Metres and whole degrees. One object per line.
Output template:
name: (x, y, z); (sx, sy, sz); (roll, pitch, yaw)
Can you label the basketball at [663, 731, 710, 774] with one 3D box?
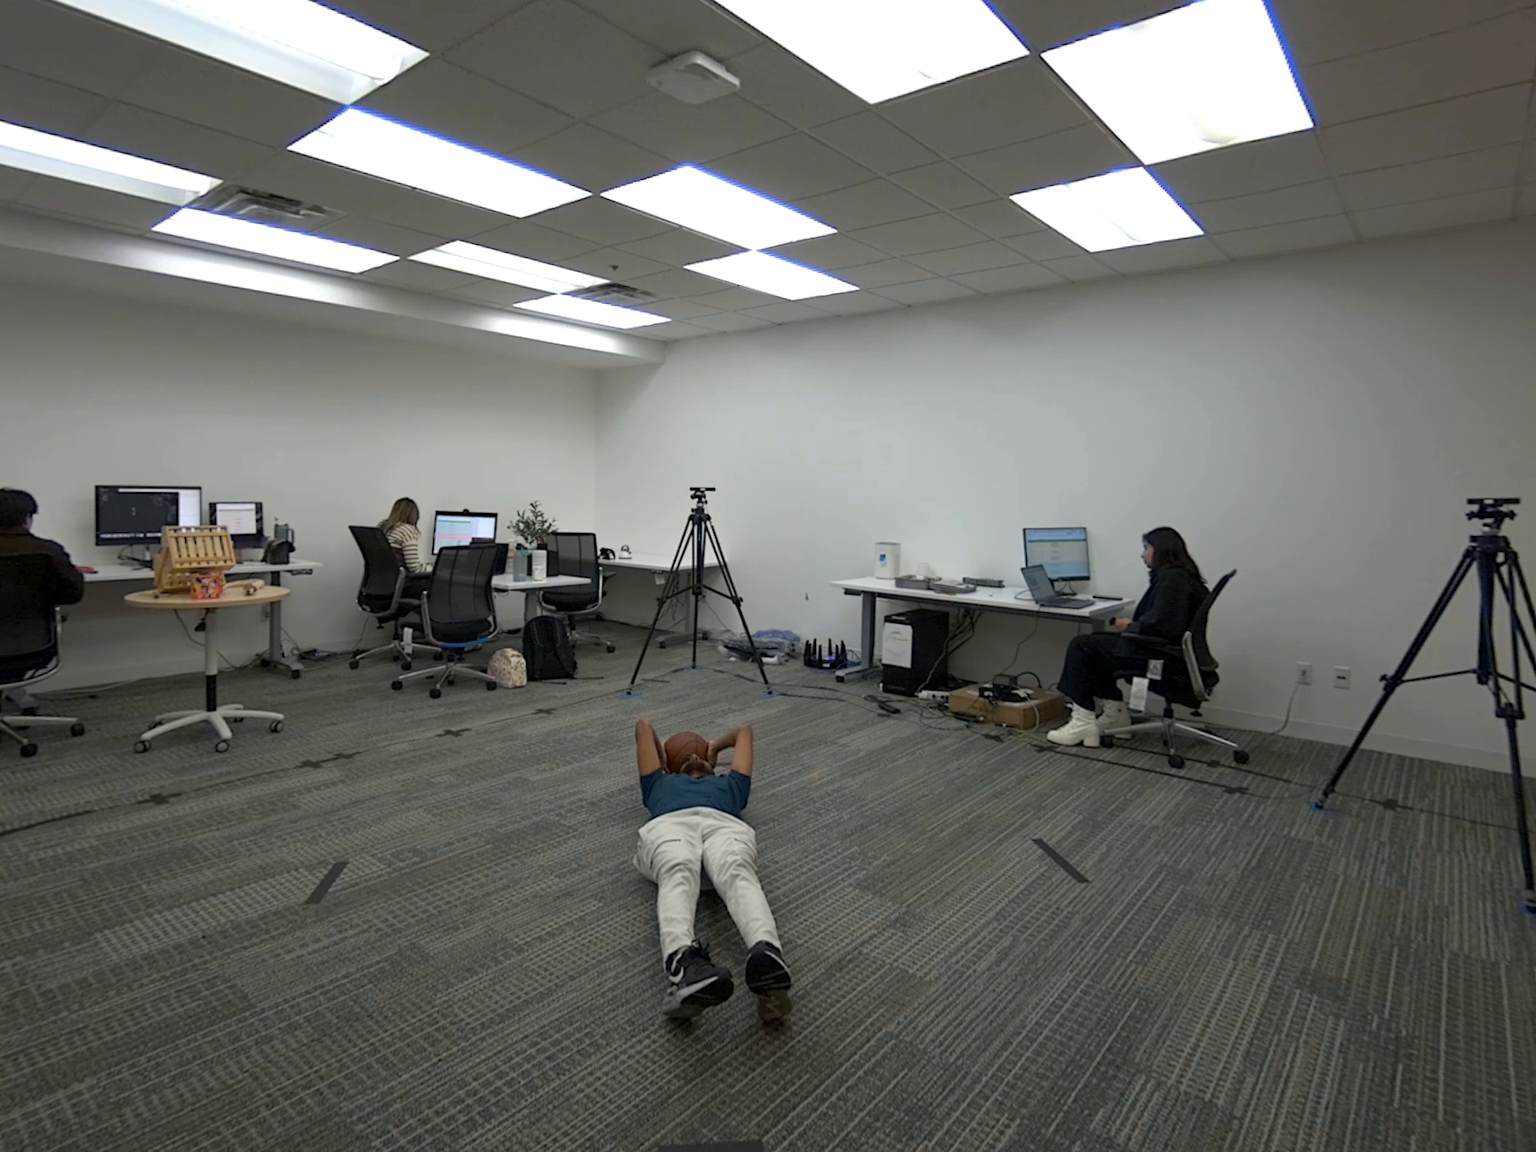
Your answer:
basketball: (-0.400, 0.855, 4.030); (0.235, 0.235, 0.237); (1, 4, -2)
